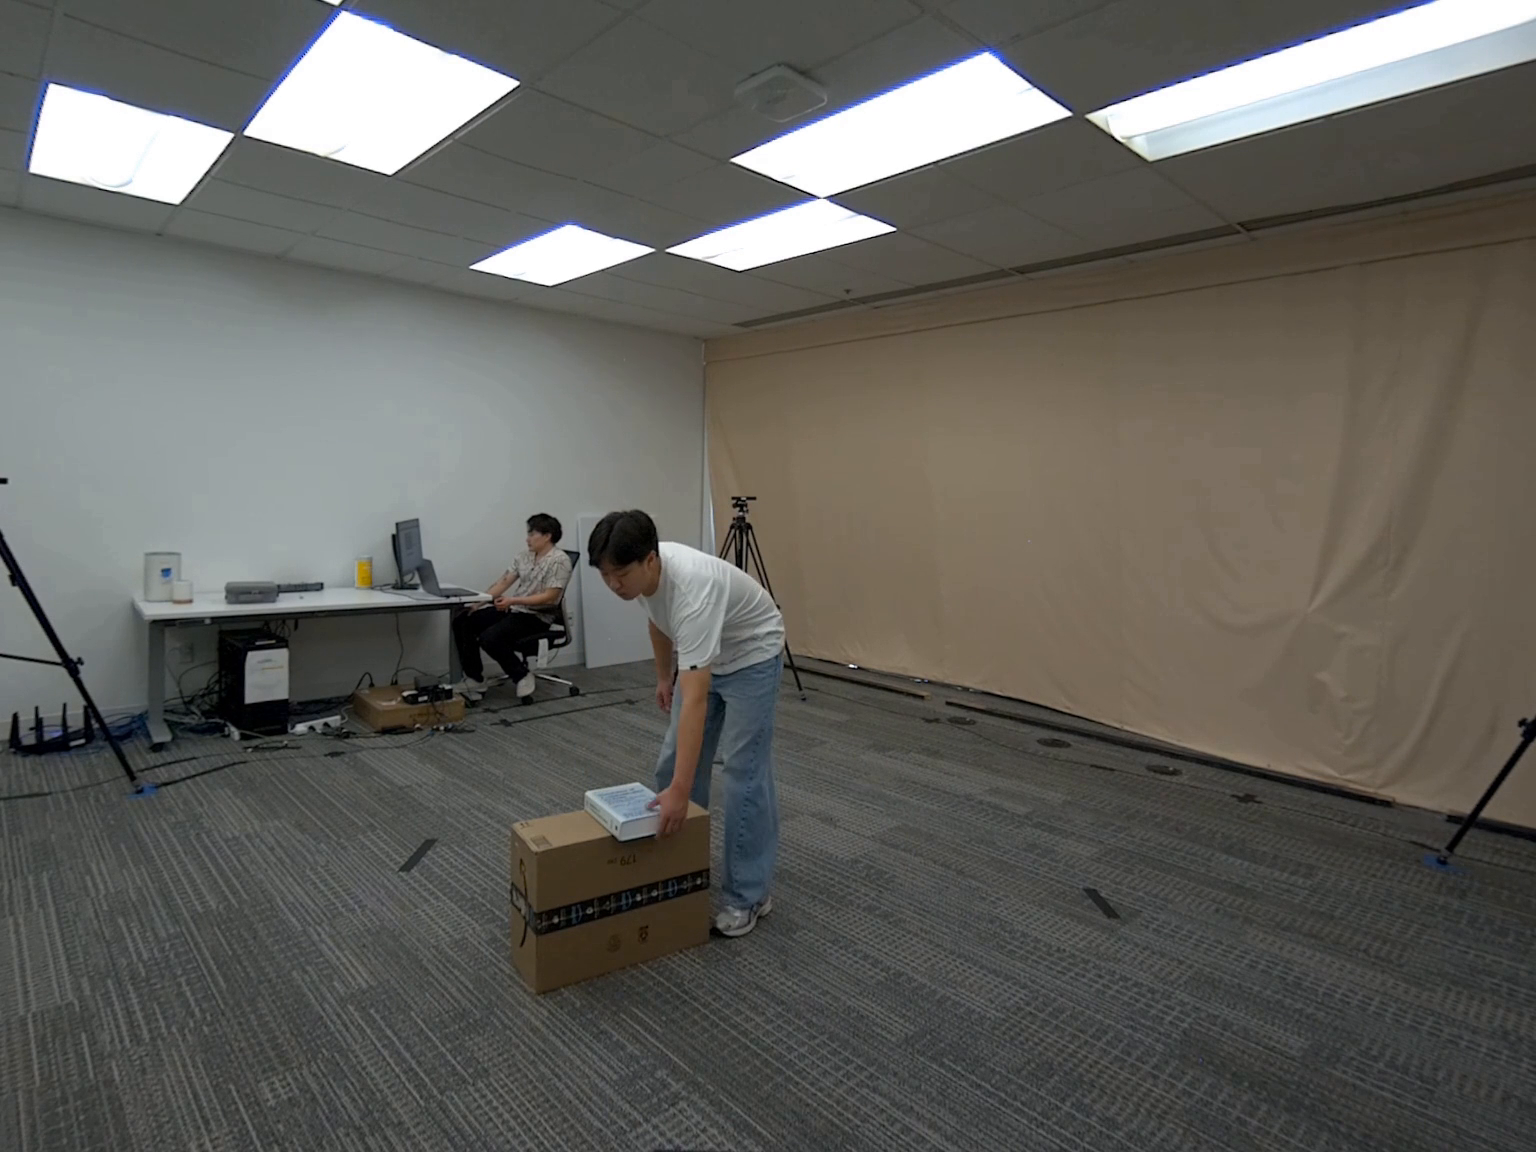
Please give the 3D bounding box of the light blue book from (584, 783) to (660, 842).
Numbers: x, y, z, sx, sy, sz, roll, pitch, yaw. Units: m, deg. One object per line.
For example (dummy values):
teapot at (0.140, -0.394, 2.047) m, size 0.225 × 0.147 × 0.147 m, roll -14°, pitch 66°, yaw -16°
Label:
light blue book at (-0.436, 0.708, 2.538) m, size 0.187 × 0.059 × 0.267 m, roll -2°, pitch 7°, yaw -34°
